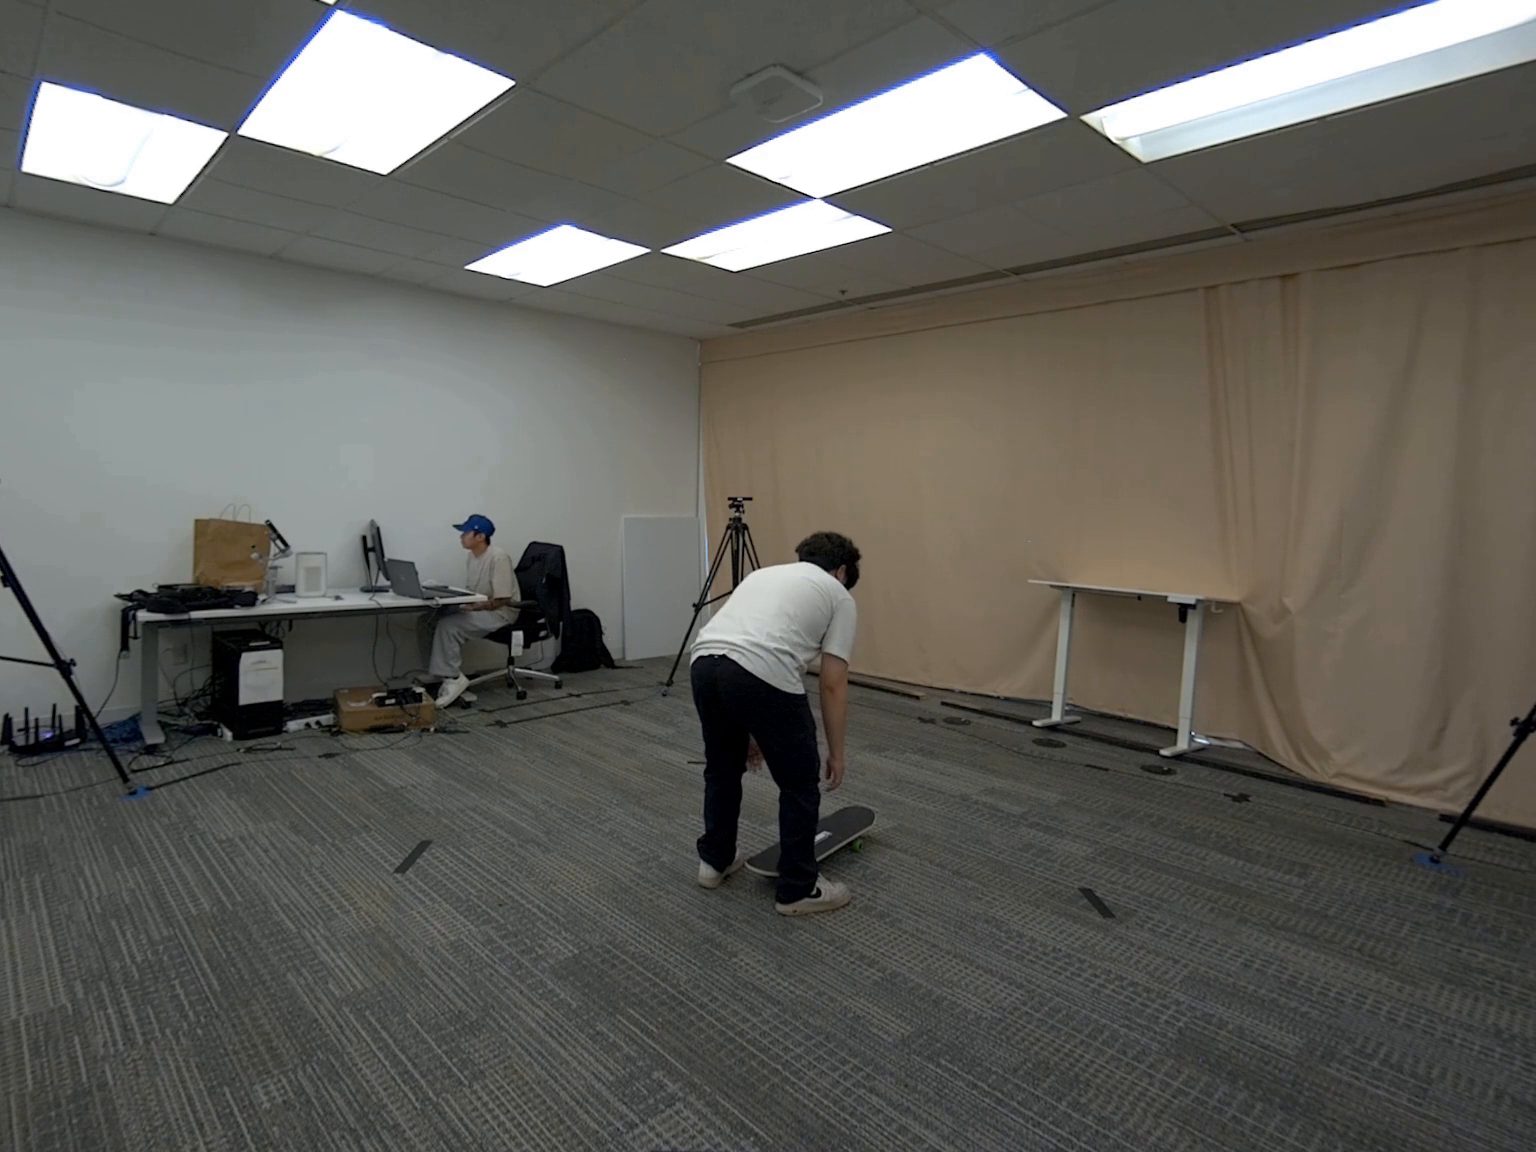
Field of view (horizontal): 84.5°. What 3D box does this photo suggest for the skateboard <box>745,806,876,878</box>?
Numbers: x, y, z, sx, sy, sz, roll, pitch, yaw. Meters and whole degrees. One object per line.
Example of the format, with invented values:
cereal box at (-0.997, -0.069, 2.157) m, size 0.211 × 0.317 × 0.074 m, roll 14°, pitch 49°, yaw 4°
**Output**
skateboard at (0.177, 1.050, 3.237) m, size 0.198 × 0.110 × 0.769 m, roll 4°, pitch 6°, yaw 34°
